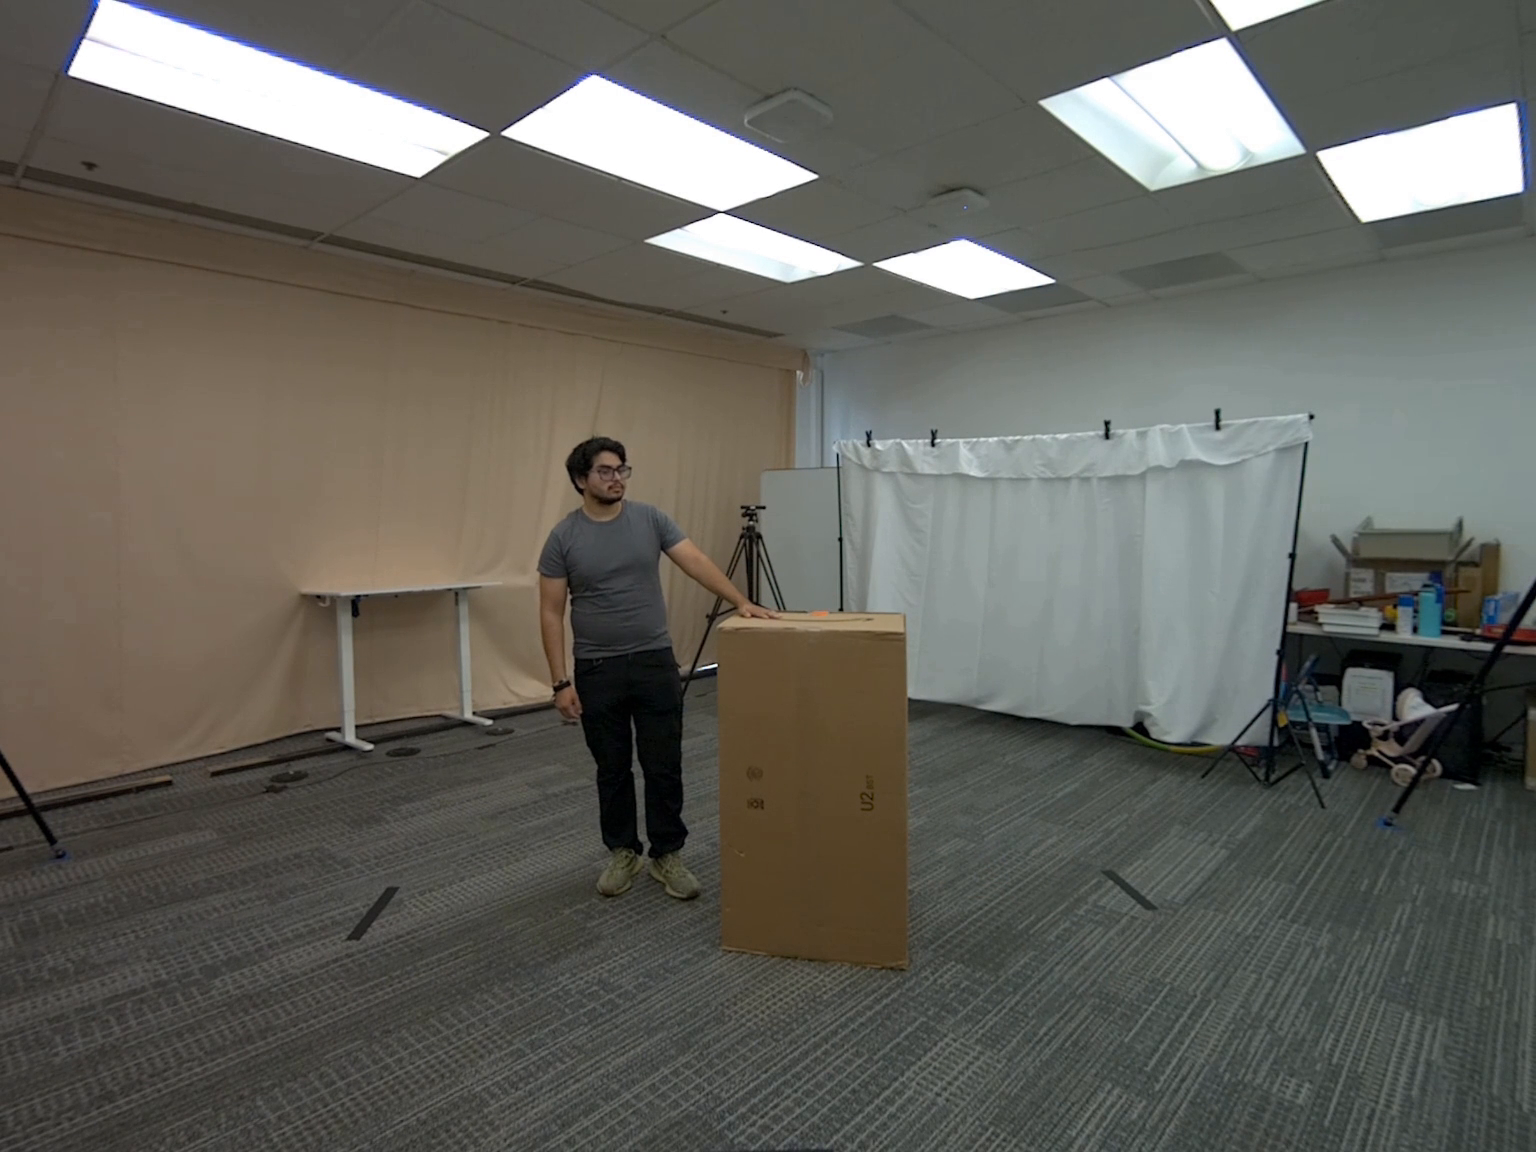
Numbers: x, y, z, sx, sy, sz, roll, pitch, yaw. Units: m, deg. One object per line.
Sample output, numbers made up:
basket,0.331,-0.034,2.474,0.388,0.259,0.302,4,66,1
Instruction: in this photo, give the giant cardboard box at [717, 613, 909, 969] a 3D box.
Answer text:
giant cardboard box,0.166,0.651,2.758,0.585,1.024,0.421,0,3,11
